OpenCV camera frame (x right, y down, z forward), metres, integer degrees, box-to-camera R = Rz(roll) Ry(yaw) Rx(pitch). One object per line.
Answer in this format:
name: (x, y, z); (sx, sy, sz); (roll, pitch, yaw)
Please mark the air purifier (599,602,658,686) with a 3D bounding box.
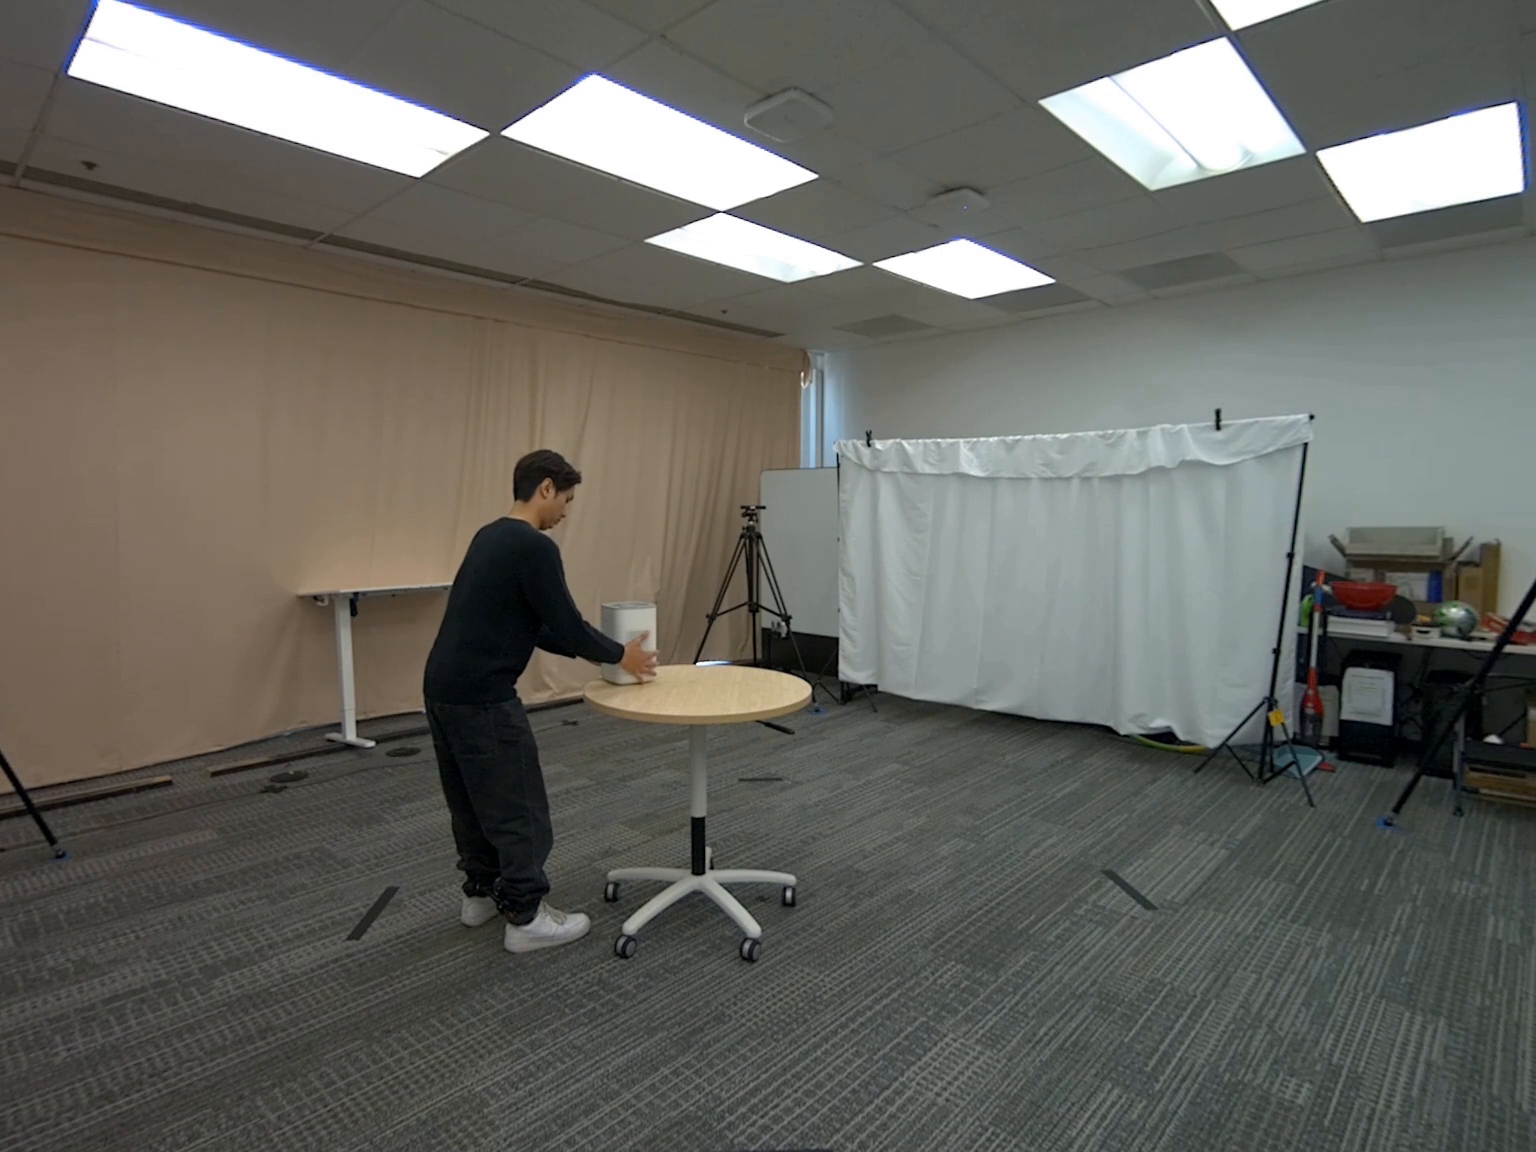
air purifier: (-0.485, 0.233, 2.930); (0.166, 0.265, 0.176); (-1, 3, -35)
